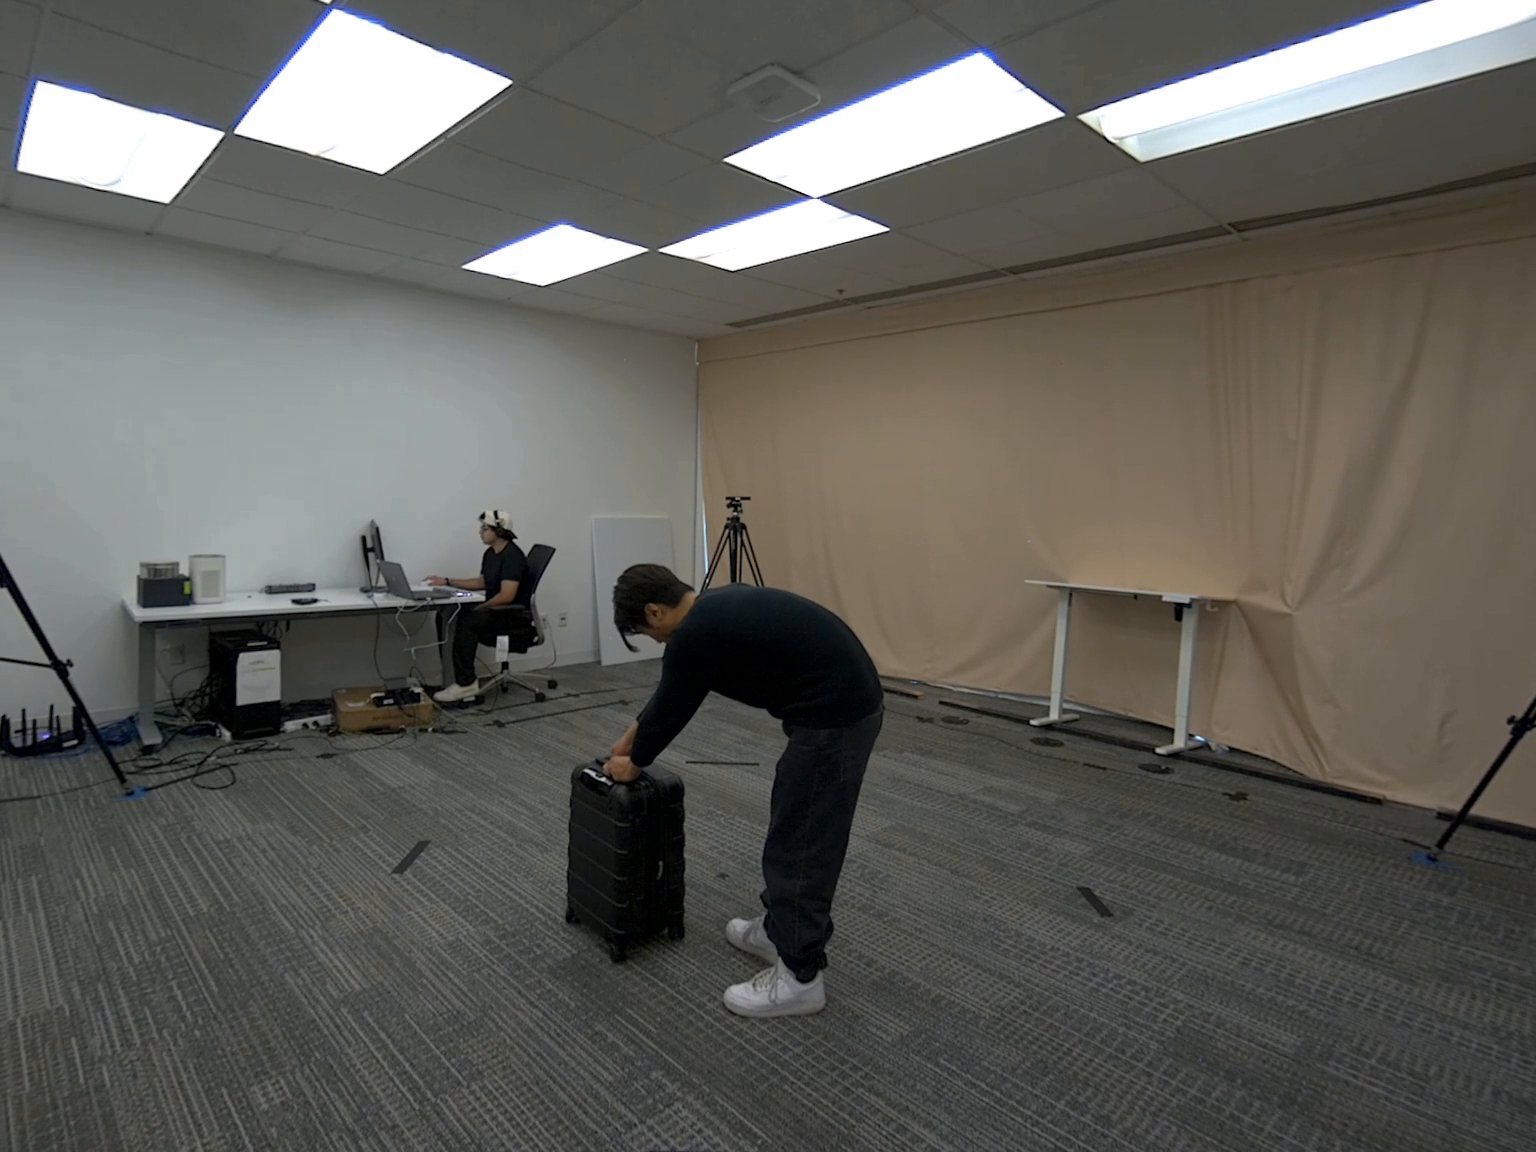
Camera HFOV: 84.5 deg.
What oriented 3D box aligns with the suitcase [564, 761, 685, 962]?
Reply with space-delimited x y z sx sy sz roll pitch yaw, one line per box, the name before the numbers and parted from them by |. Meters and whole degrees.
suitcase | -0.461 0.864 2.674 0.243 0.548 0.385 -2 5 -39
